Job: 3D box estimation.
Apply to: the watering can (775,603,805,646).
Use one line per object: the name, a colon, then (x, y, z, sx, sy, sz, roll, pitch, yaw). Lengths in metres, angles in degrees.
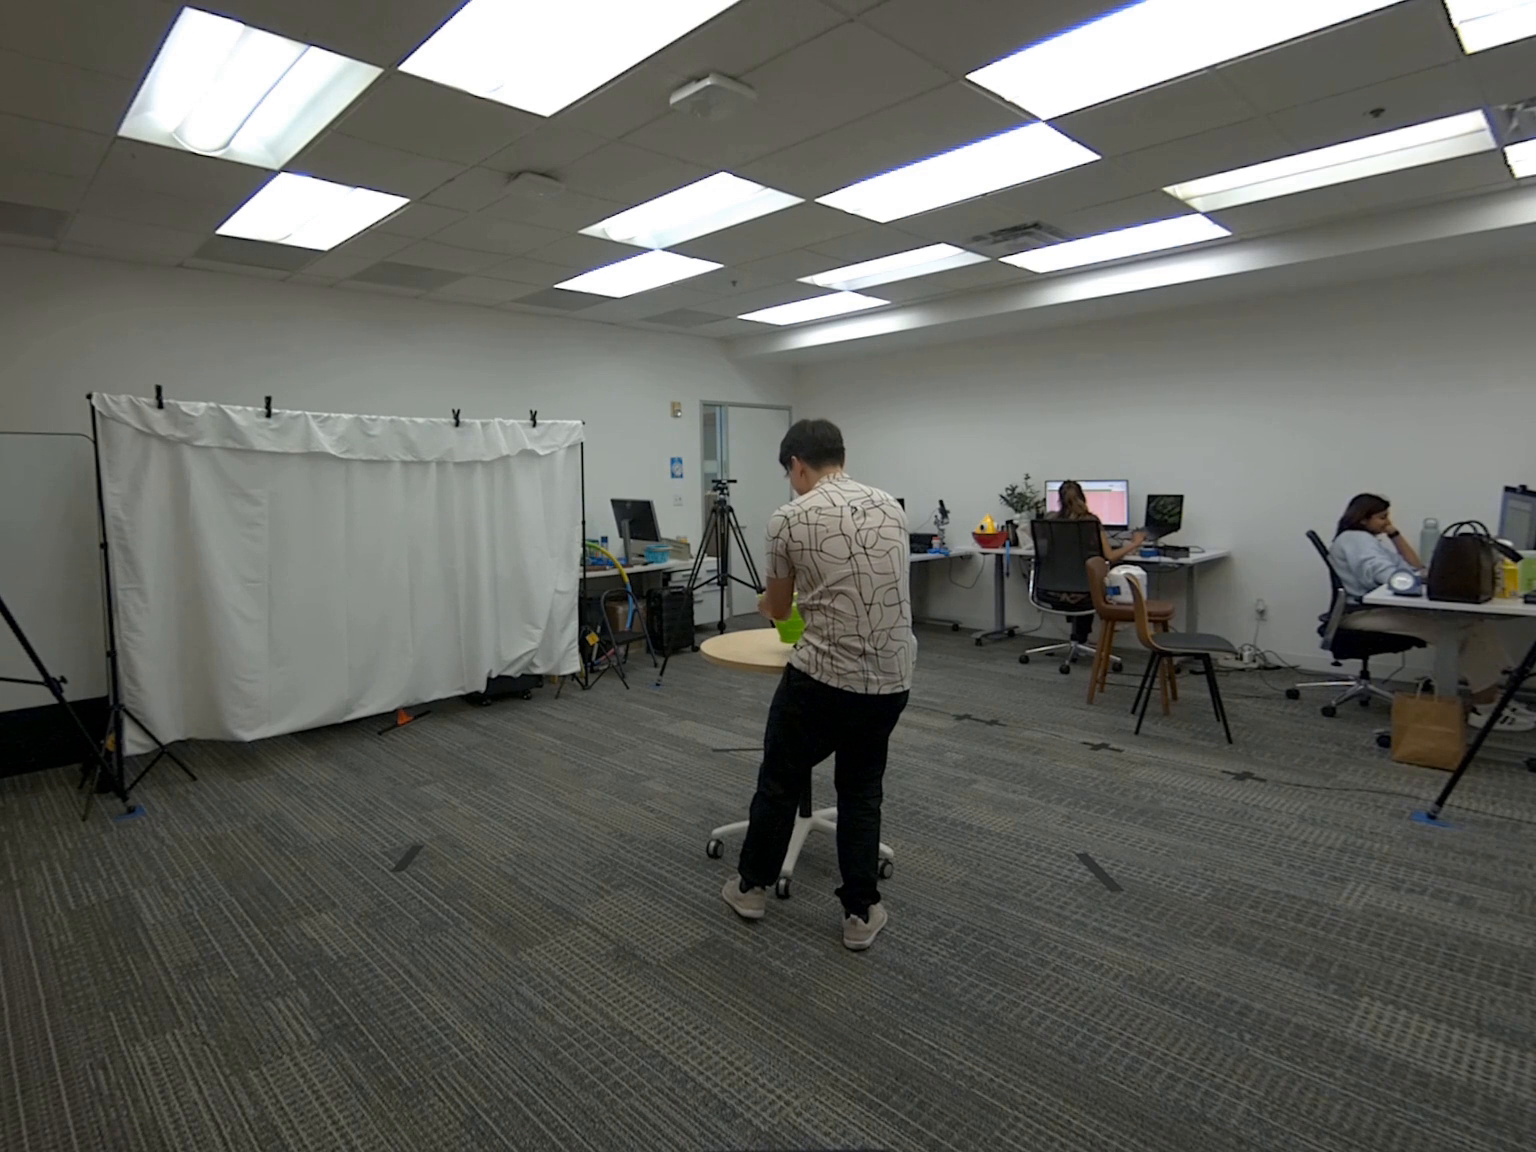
watering can: (0.075, 0.153, 2.999, 0.271, 0.177, 0.100, -3, 1, -35)
